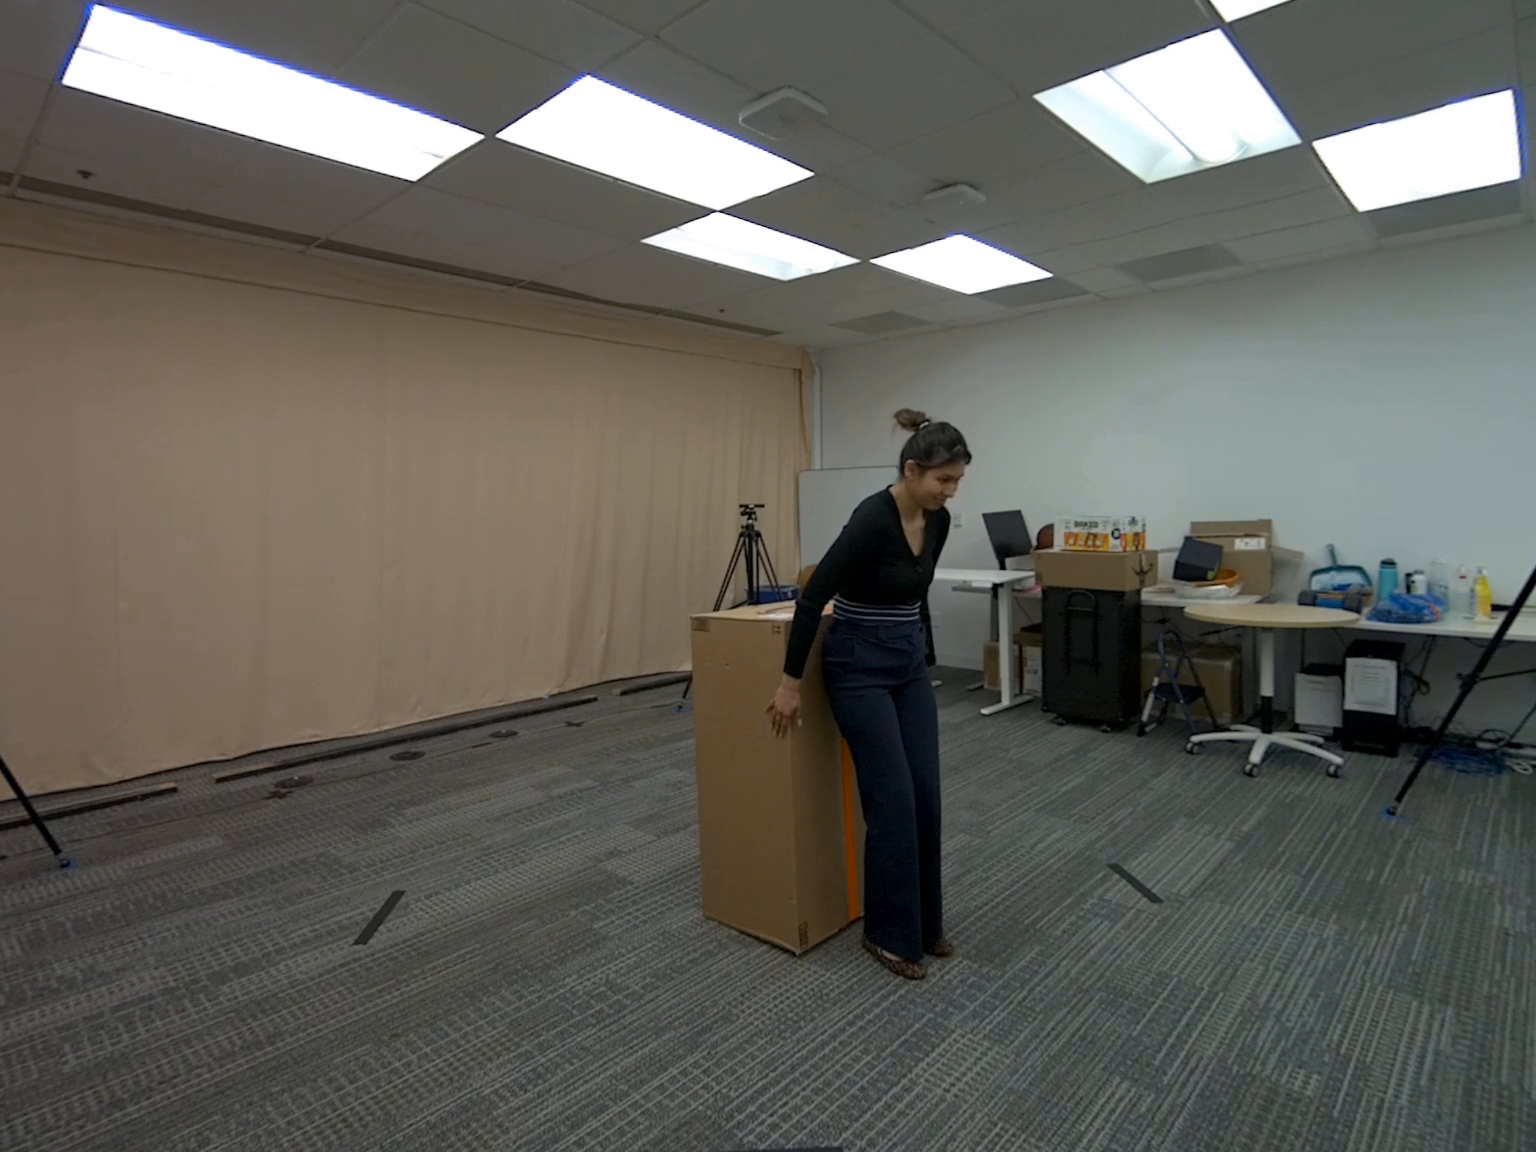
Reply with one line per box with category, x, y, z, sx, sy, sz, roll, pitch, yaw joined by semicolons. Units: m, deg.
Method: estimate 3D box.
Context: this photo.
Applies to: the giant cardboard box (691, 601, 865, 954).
giant cardboard box;0.098;0.628;2.912;0.440;1.025;0.560;-2;1;43
